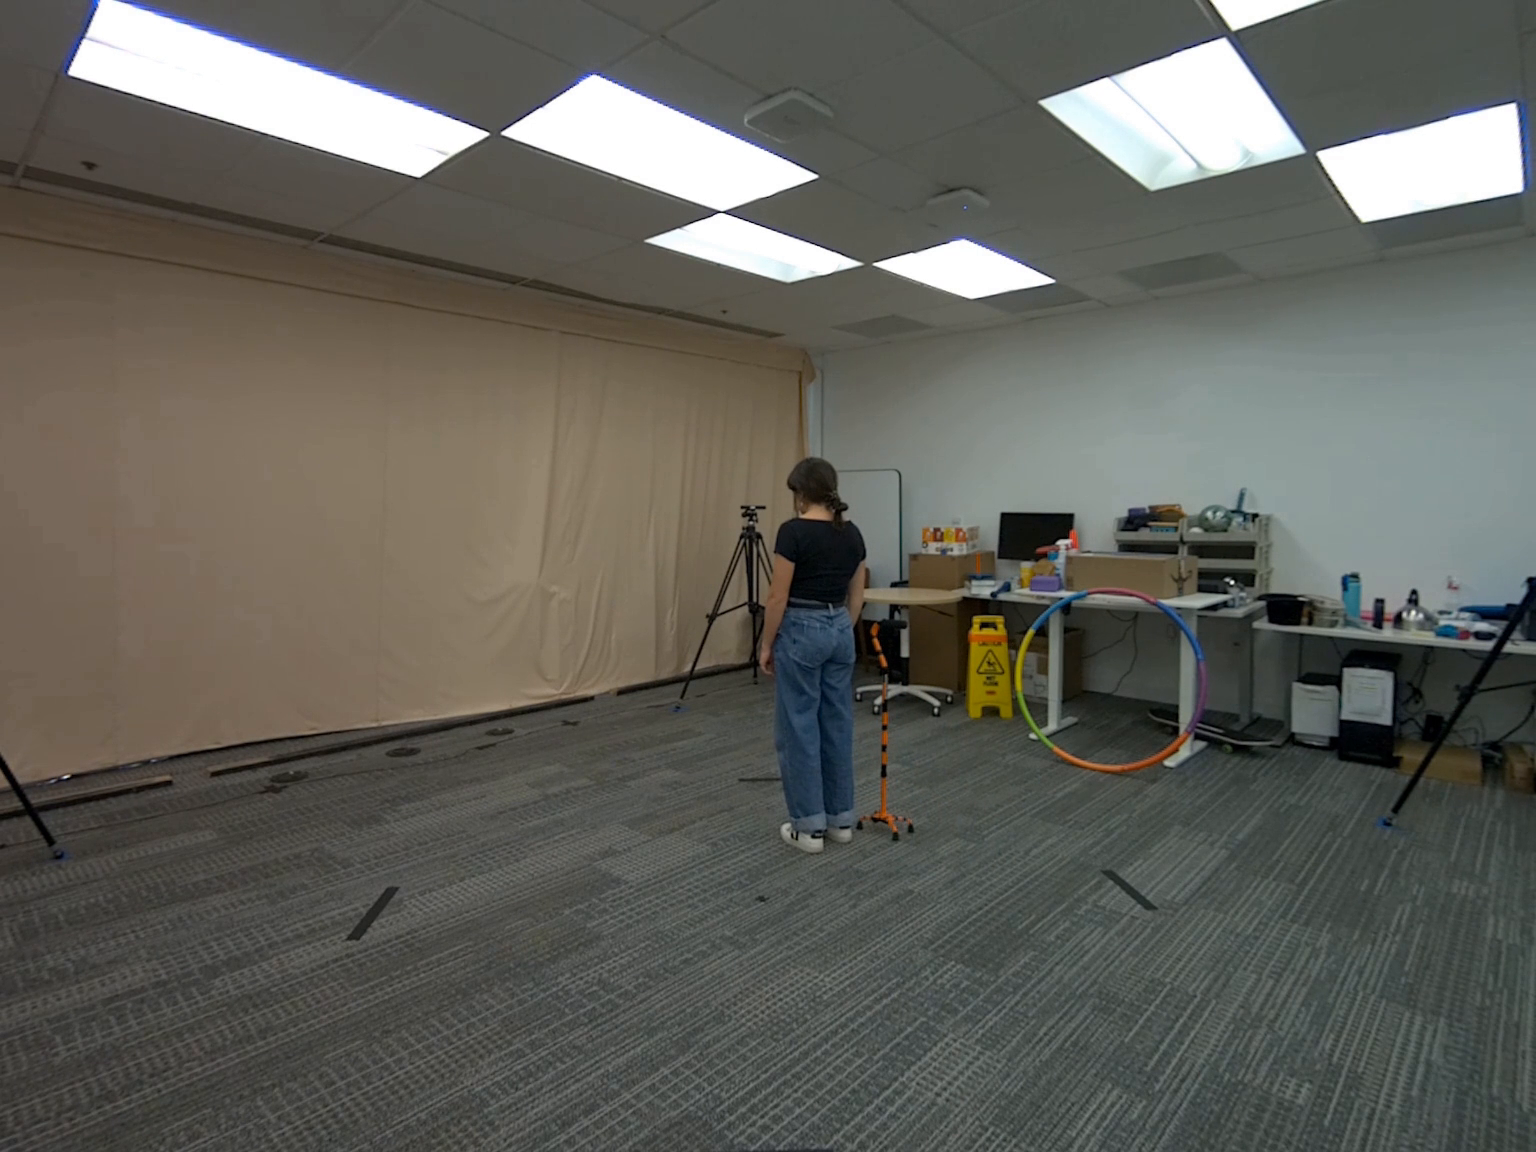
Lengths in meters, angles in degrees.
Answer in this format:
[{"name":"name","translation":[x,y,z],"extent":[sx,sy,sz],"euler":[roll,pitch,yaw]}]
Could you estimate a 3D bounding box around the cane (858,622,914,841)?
[{"name":"cane","translation":[0.520,0.644,3.586],"extent":[0.213,0.906,0.147],"euler":[3,4,41]}]
